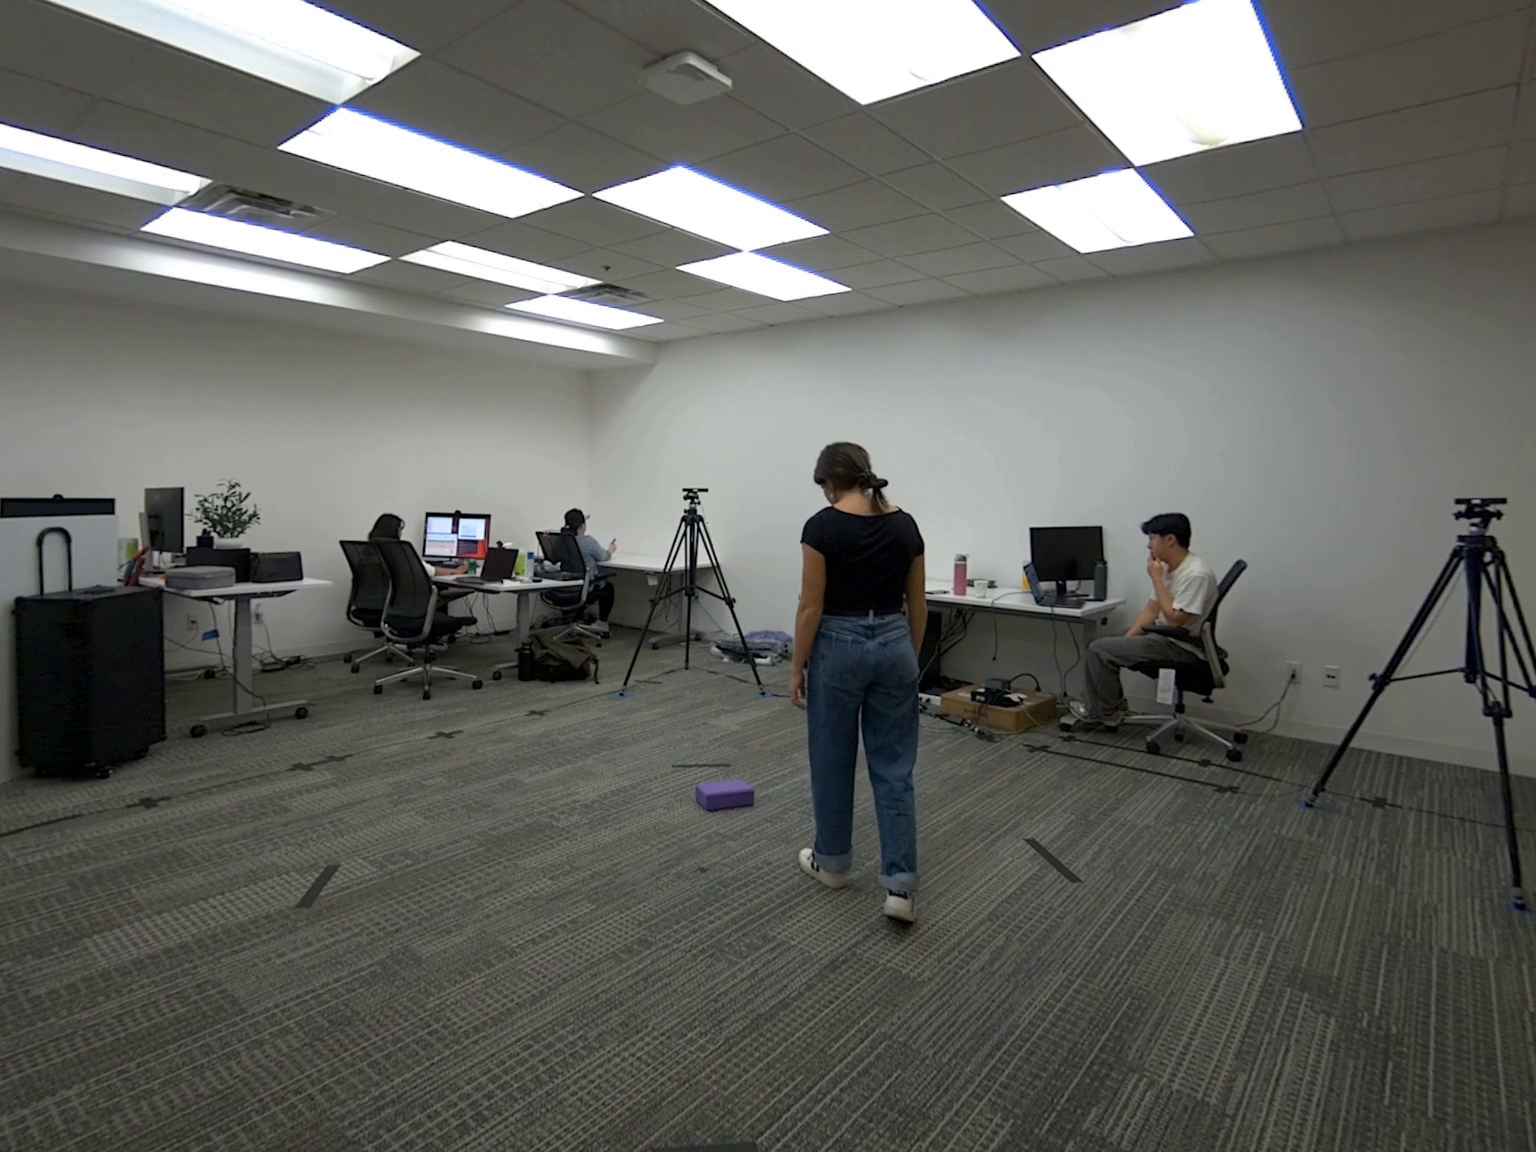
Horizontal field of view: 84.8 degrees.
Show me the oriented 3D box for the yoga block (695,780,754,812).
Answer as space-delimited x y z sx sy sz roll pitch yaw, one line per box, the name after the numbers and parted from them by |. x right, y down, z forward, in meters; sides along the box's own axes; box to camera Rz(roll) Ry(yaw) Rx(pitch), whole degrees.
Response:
-0.189 0.960 3.775 0.224 0.076 0.153 -2 6 -23 | yoga block
